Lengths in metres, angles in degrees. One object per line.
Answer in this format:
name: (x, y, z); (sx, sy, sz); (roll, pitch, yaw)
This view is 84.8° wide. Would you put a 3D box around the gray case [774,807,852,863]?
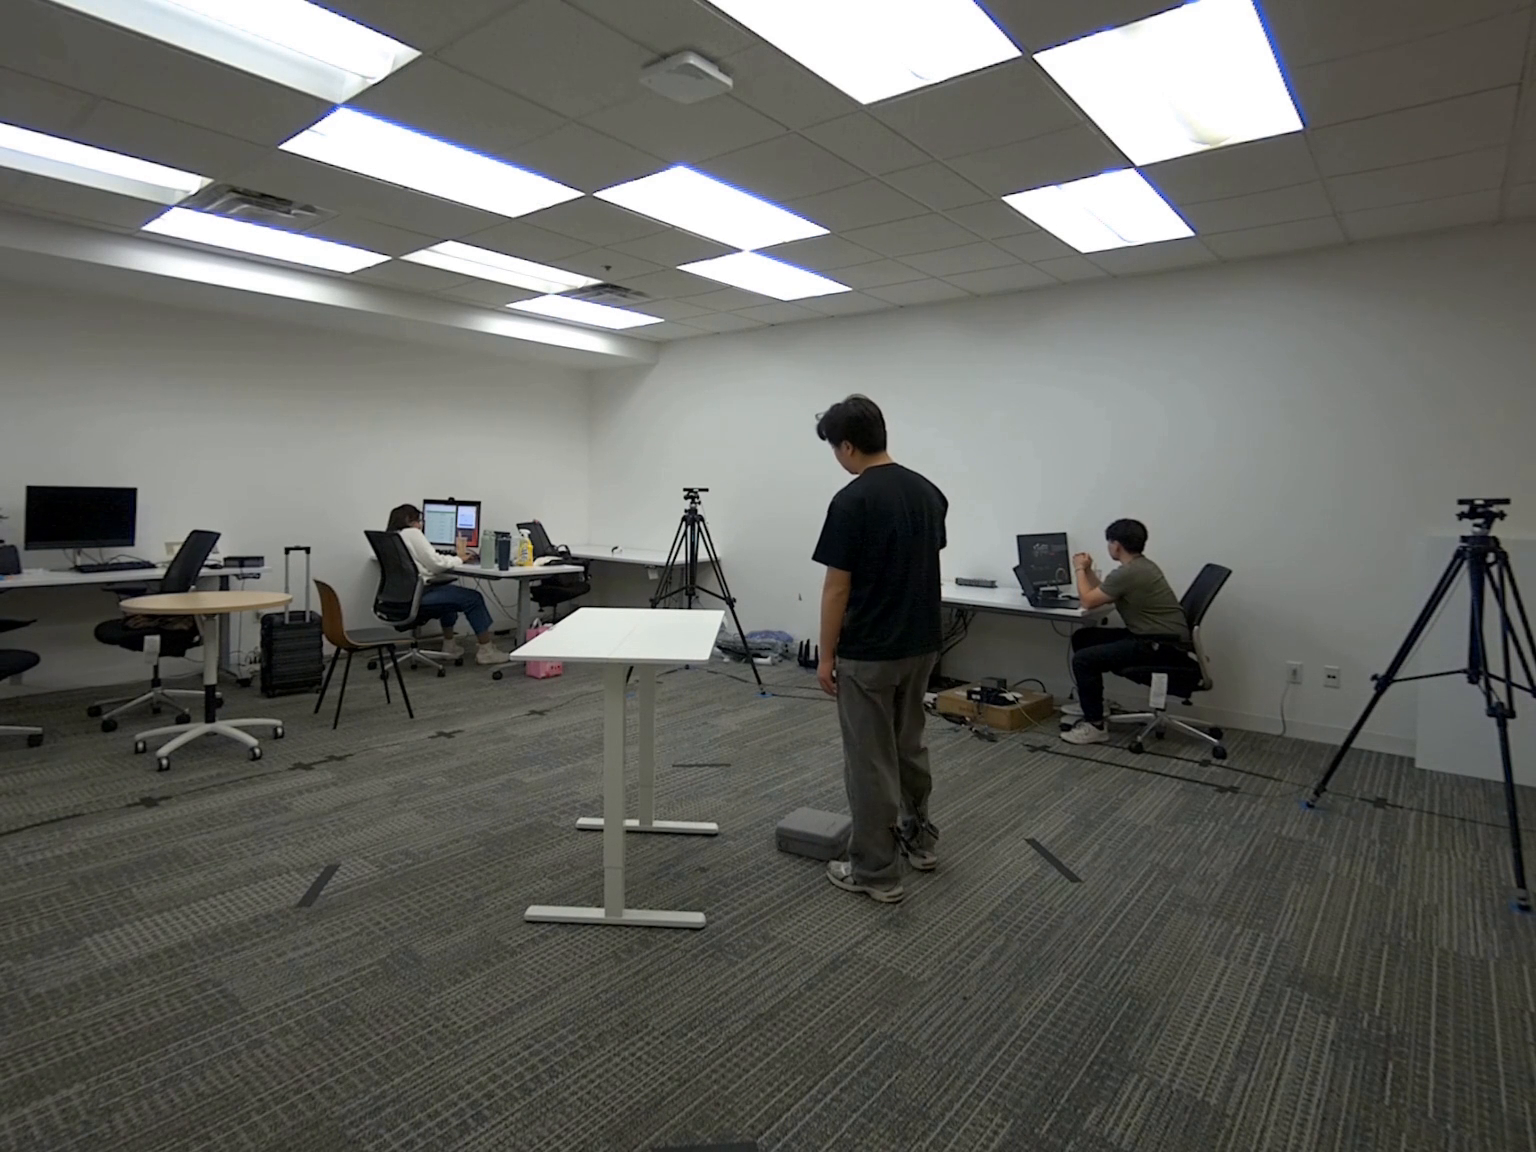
gray case: (0.169, 1.002, 3.337); (0.295, 0.103, 0.256); (2, 4, 28)
